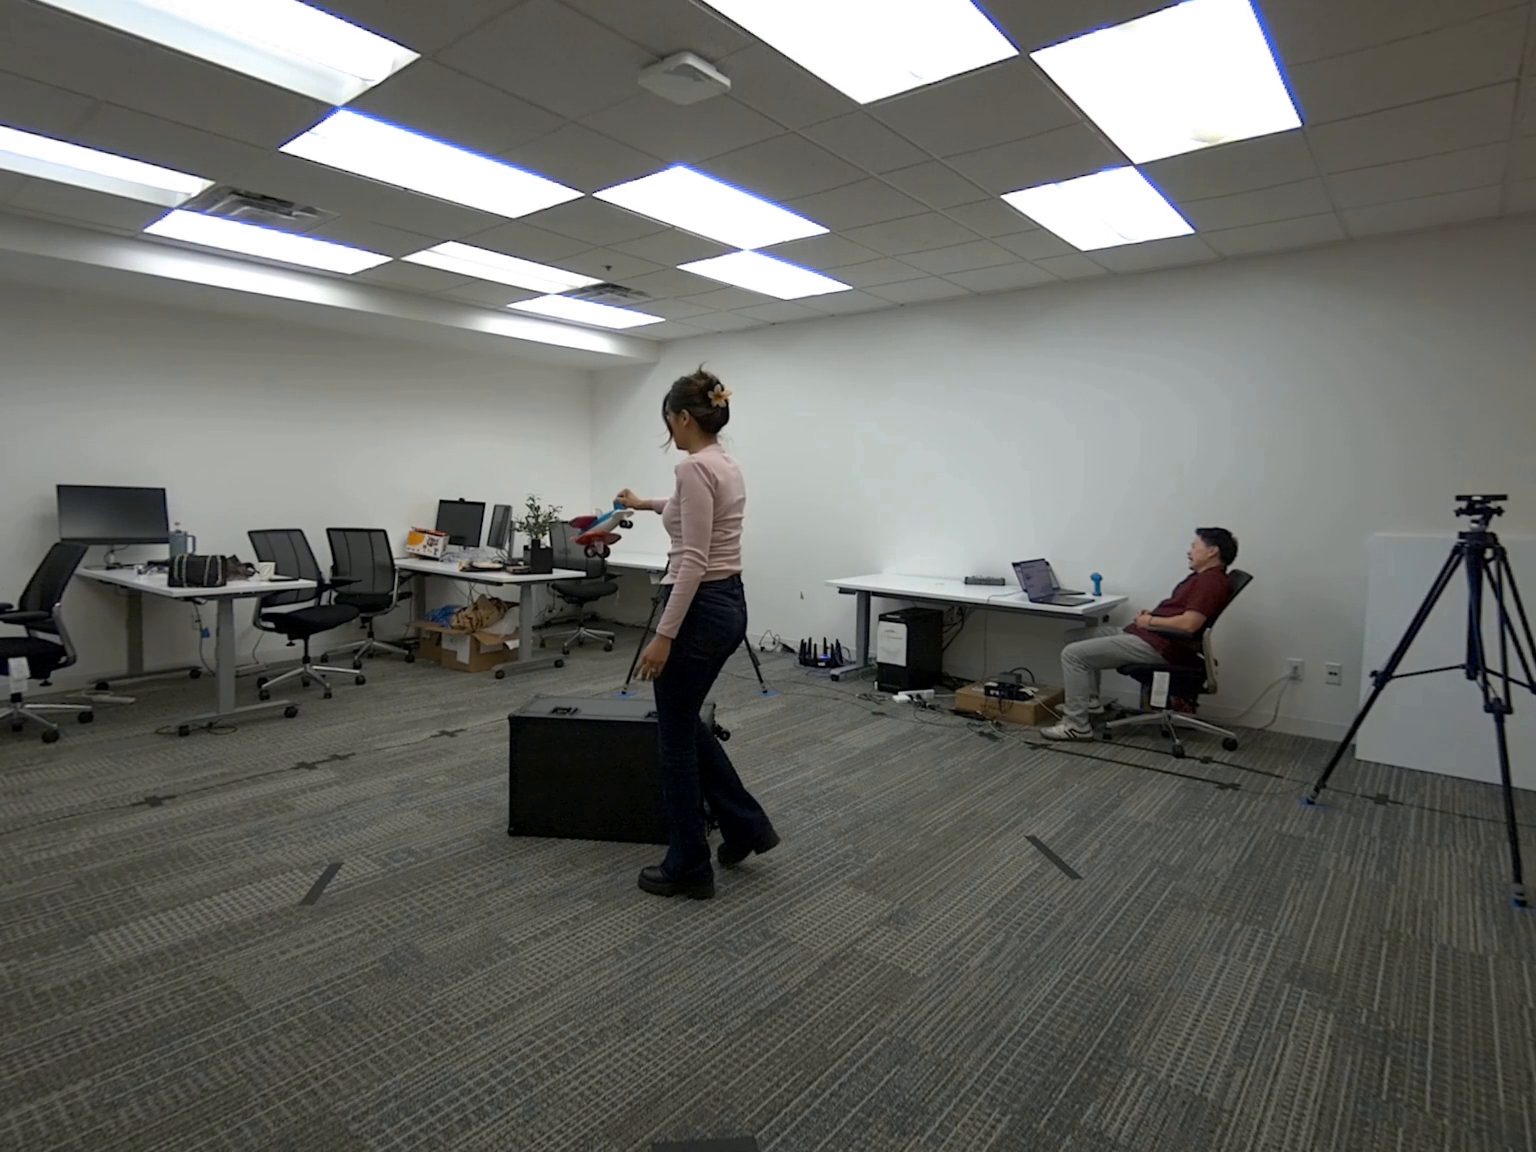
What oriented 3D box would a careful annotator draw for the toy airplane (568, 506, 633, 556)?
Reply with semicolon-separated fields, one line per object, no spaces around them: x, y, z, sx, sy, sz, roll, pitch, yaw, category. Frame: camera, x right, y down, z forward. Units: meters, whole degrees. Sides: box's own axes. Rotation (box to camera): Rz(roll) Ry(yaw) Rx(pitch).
-0.667;-0.192;3.434;0.259;0.160;0.245;-36;-17;-7;toy airplane
